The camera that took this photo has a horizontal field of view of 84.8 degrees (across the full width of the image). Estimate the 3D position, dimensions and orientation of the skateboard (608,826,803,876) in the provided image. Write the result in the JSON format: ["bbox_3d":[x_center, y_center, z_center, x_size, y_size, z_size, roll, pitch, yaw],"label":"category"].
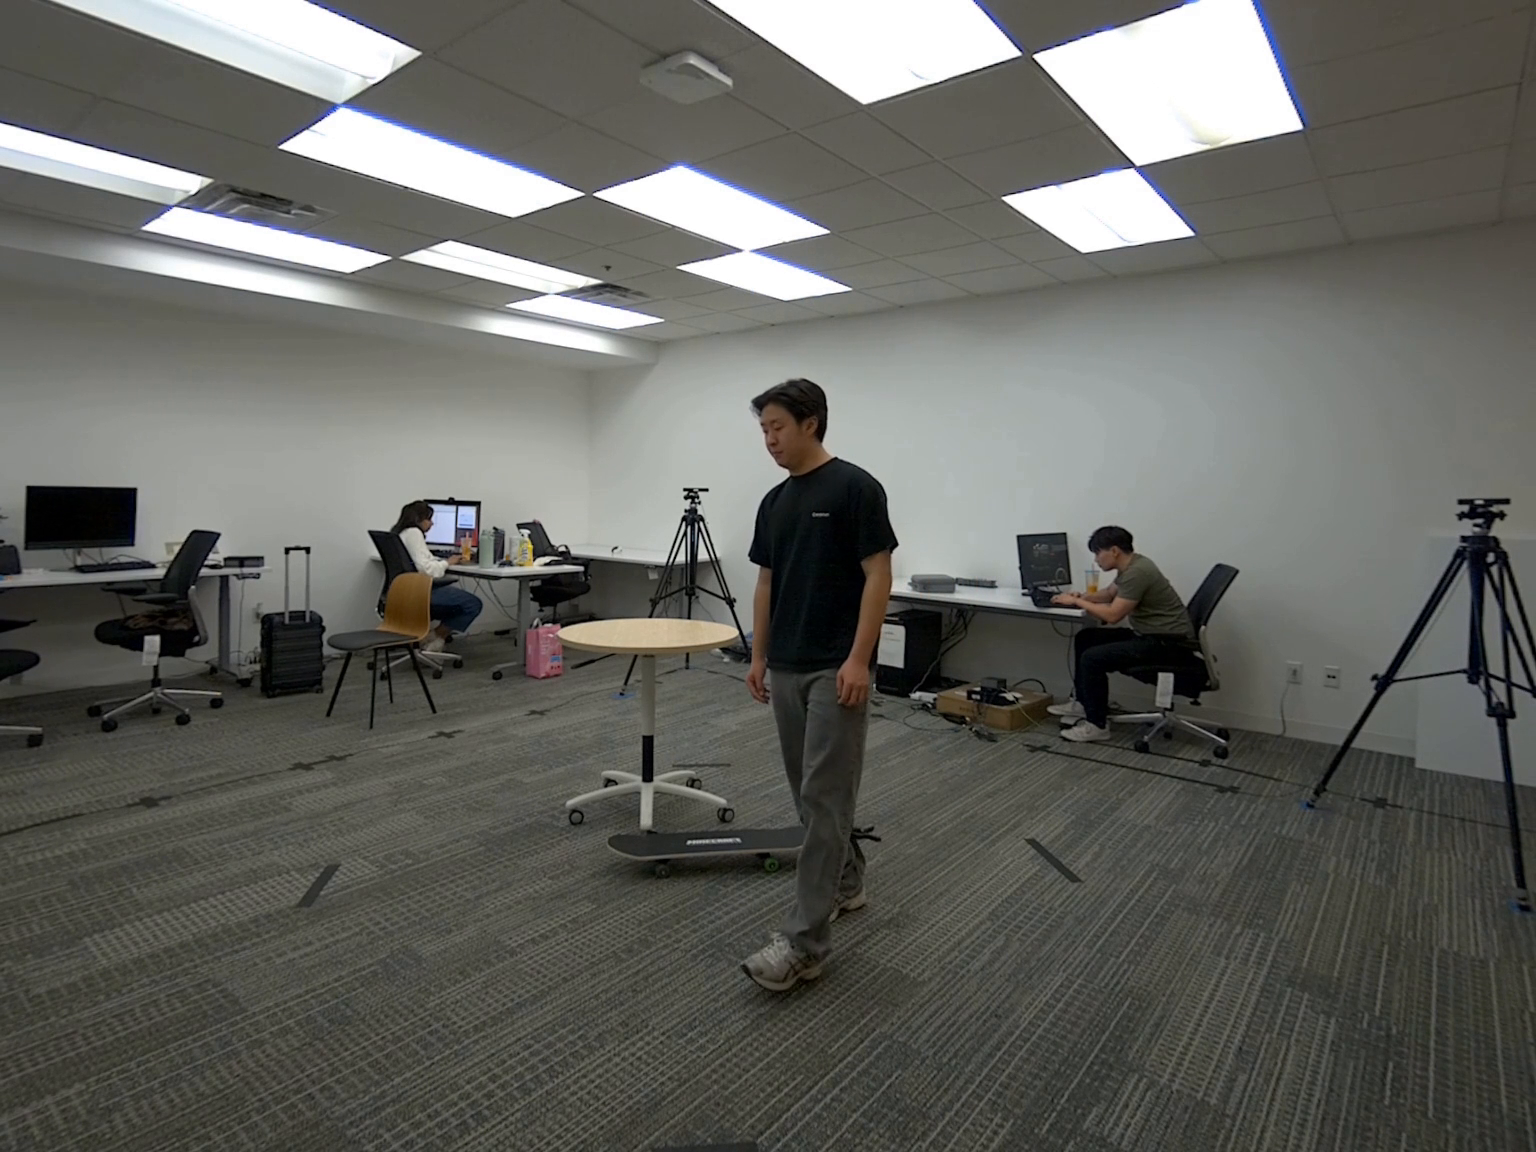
[{"bbox_3d":[-0.207,1.009,3.137,0.776,0.110,0.196,0,4,-11],"label":"skateboard"}]
